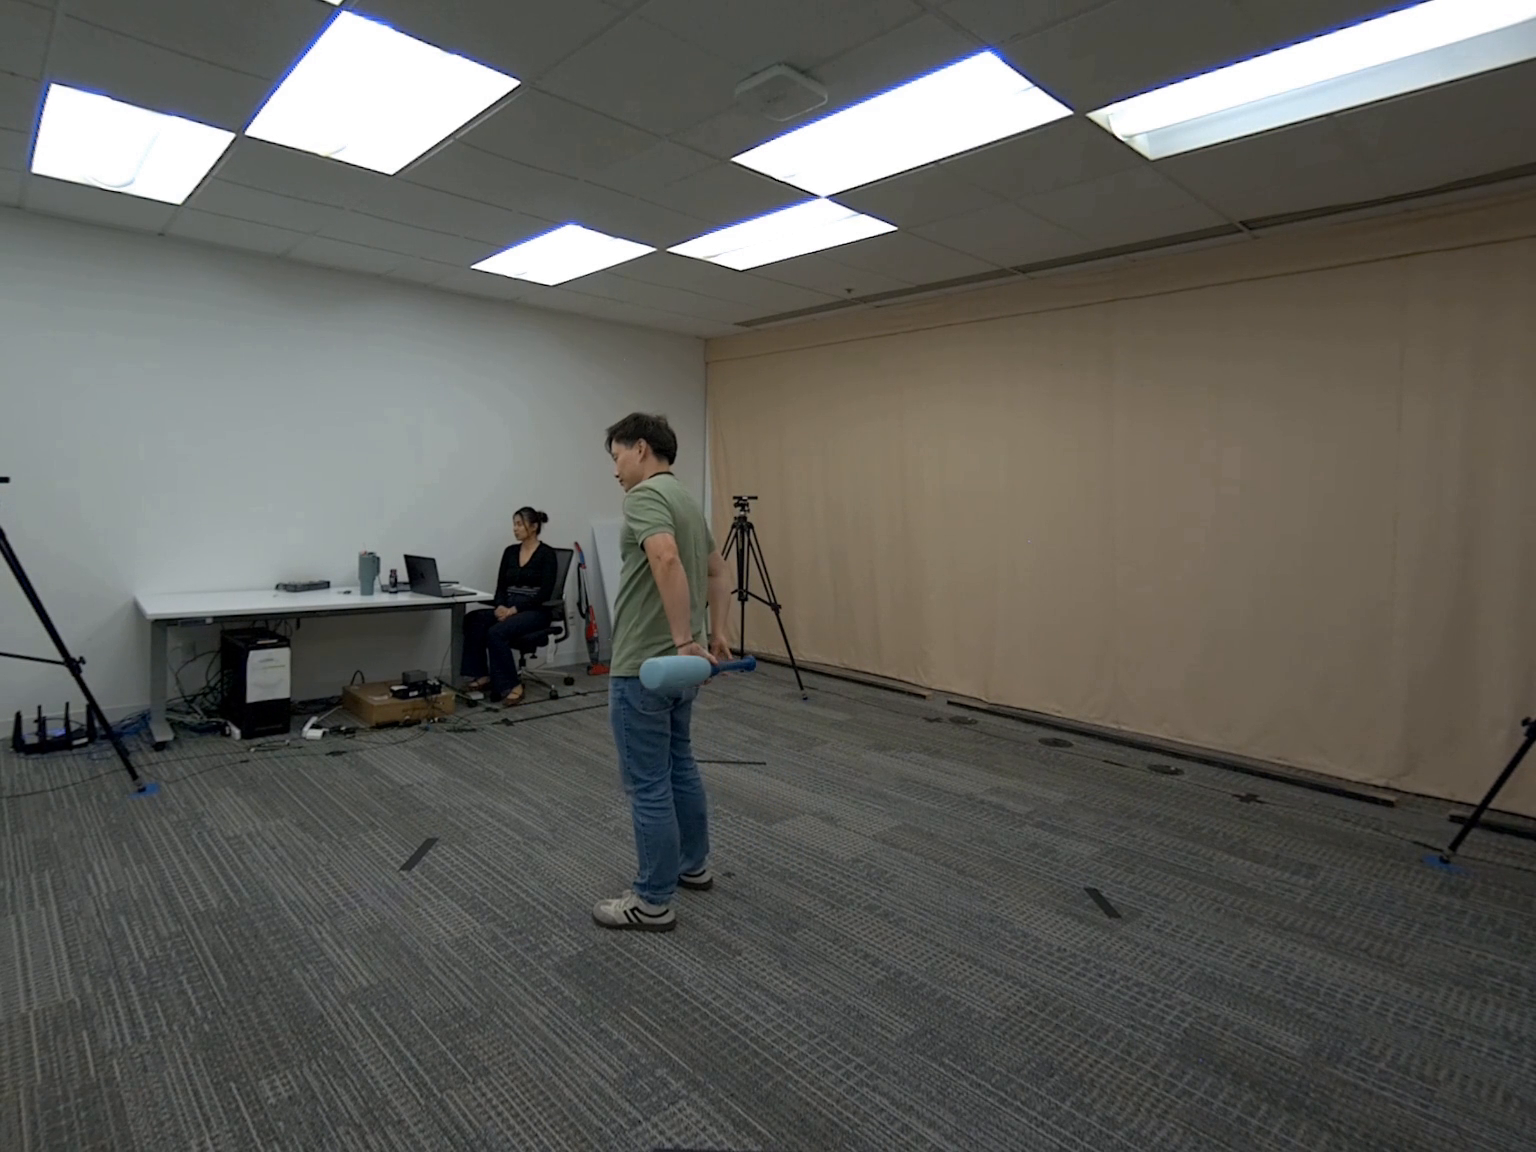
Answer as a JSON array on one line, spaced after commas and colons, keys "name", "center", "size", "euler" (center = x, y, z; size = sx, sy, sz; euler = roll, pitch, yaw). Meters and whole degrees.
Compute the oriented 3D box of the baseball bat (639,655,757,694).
[{"name": "baseball bat", "center": [-0.198, 0.271, 2.401], "size": [0.091, 0.089, 0.531], "euler": [4, -2, 27]}]
